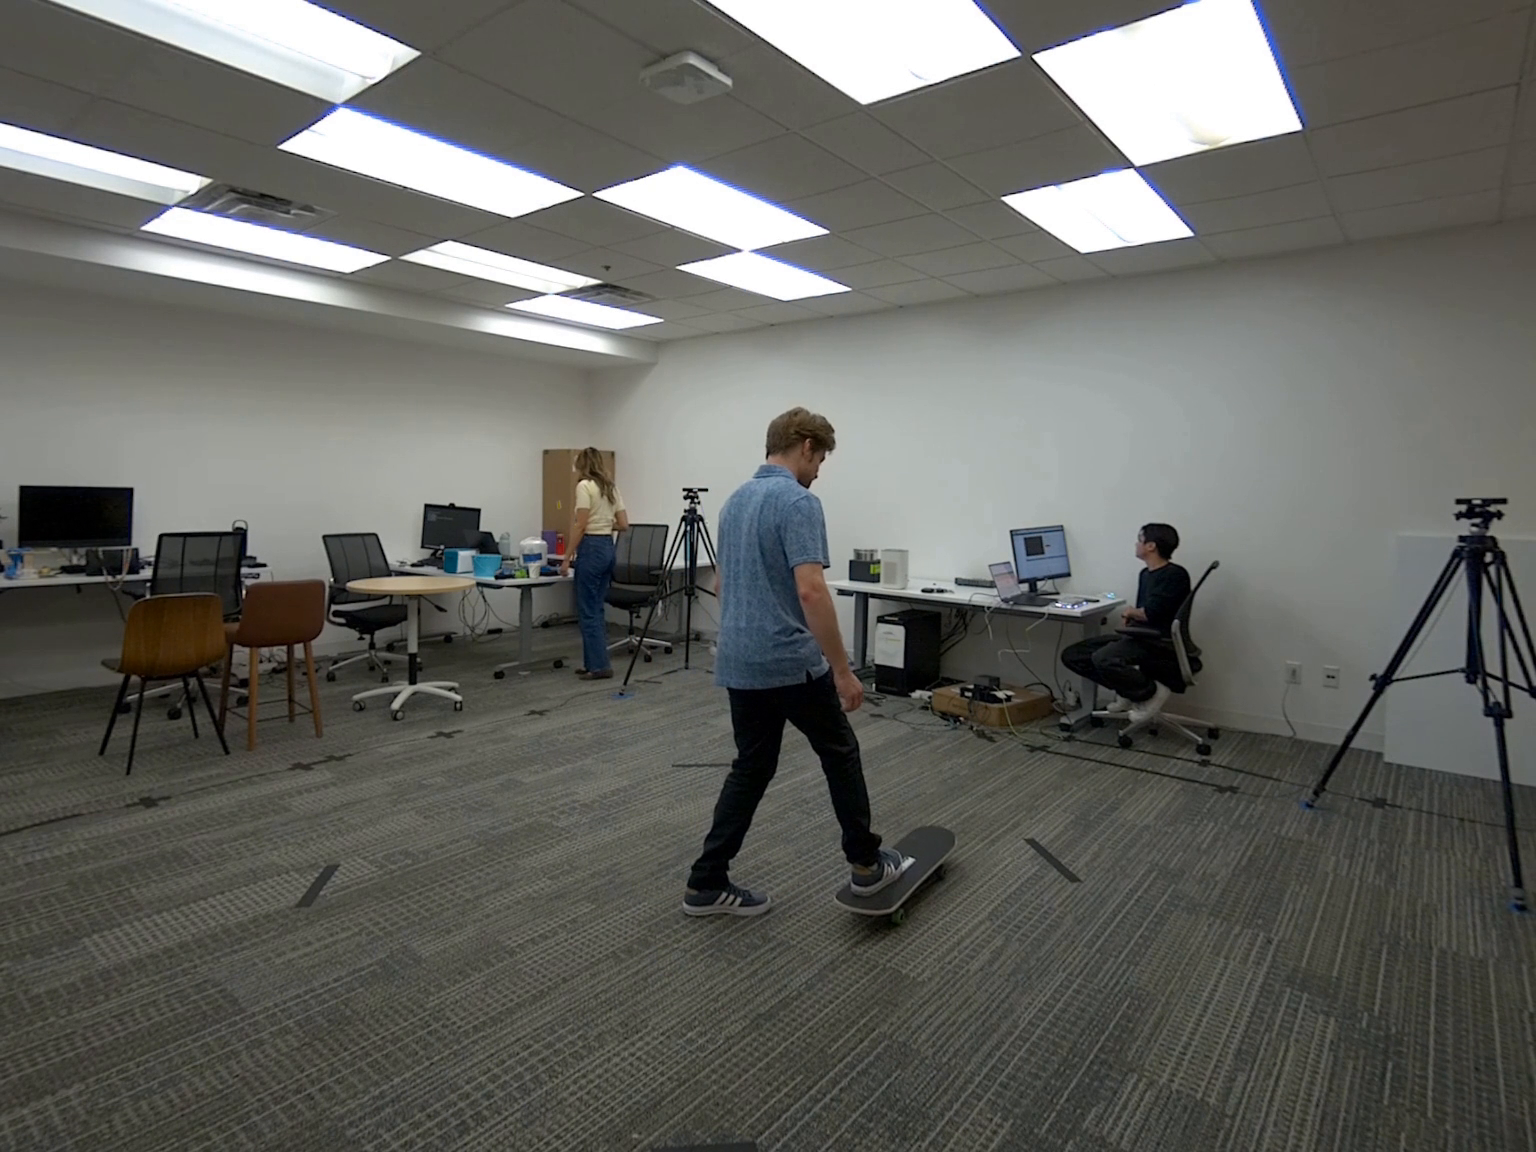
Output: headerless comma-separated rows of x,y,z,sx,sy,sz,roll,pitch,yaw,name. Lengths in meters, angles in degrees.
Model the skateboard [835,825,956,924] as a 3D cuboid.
0.451,1.041,2.959,0.199,0.110,0.764,4,6,32,skateboard
